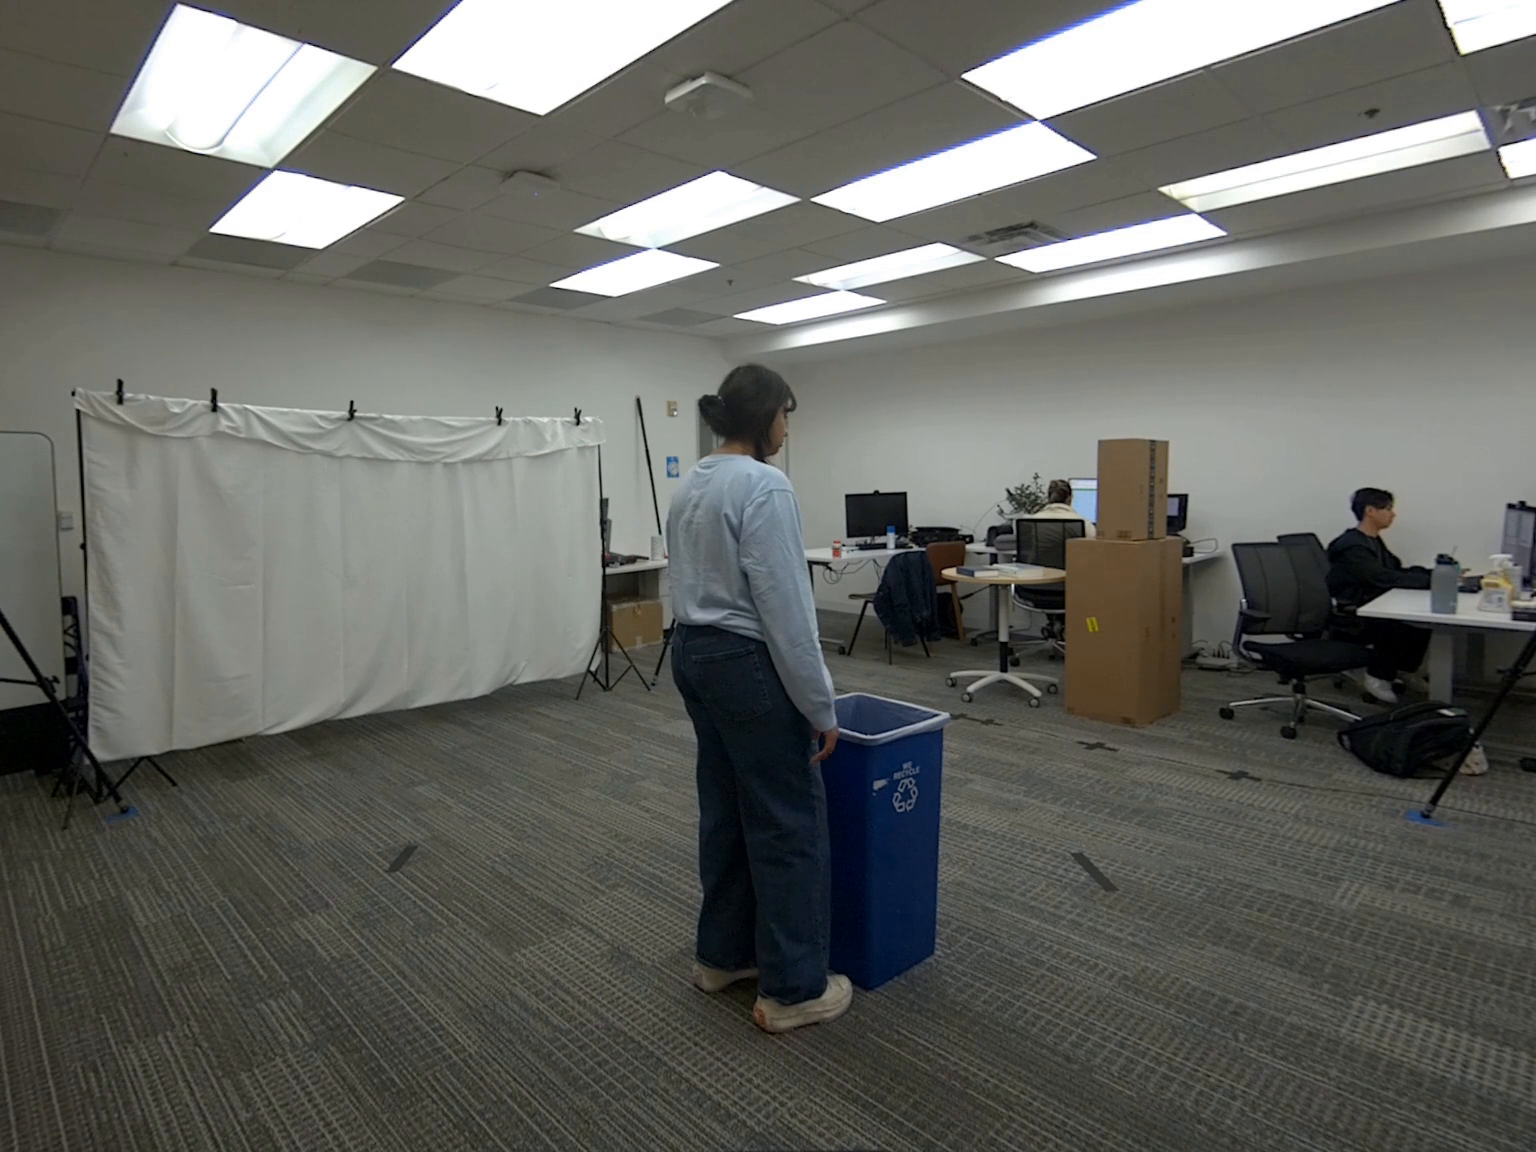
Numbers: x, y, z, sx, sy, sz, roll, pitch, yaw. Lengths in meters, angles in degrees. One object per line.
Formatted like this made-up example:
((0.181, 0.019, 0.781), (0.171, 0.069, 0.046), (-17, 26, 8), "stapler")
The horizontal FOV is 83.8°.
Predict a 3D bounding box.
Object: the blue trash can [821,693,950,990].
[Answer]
((0.289, 0.752, 2.512), (0.364, 0.711, 0.390), (-4, 6, -41), "blue trash can")
